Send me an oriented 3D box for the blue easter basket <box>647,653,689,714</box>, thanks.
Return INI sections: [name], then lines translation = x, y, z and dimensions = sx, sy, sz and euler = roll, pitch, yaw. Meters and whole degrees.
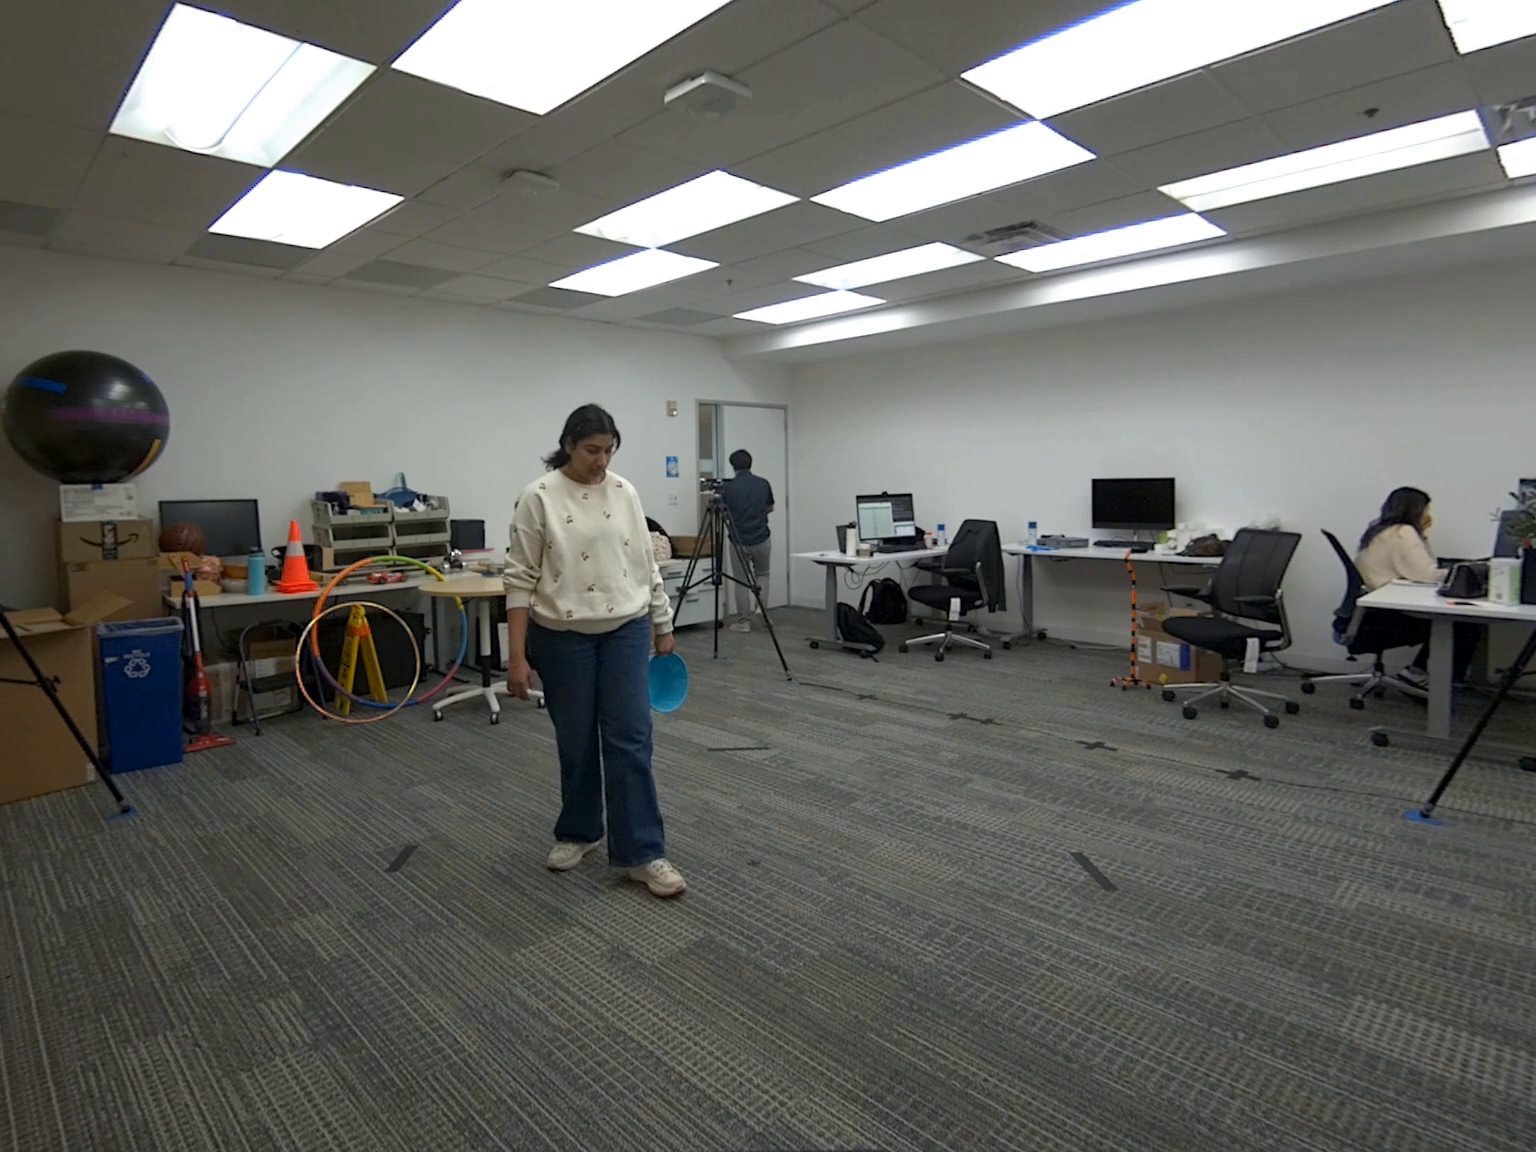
[blue easter basket]
translation = -0.419, 0.406, 3.328
dimensions = 0.237, 0.244, 0.160
euler = -6, -2, -45
